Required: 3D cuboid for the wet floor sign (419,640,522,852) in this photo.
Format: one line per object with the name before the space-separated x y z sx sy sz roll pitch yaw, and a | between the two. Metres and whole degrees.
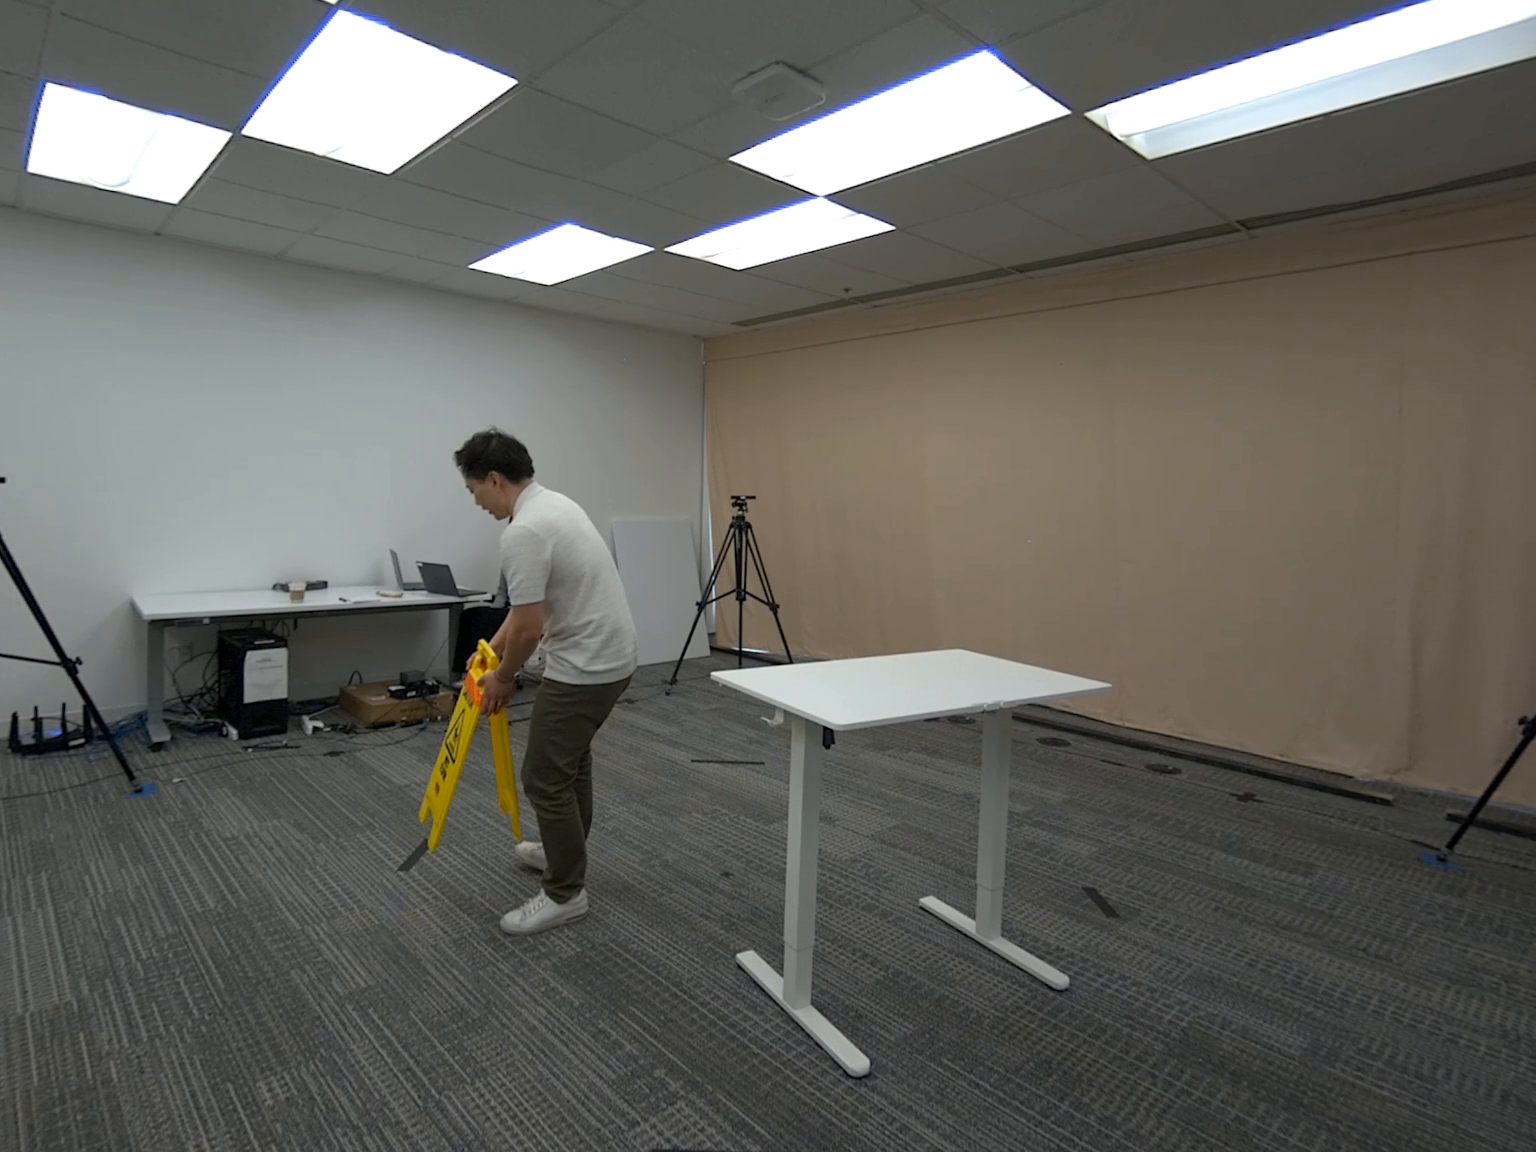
wet floor sign | -0.971 0.550 2.818 0.283 0.643 0.290 4 9 -30
